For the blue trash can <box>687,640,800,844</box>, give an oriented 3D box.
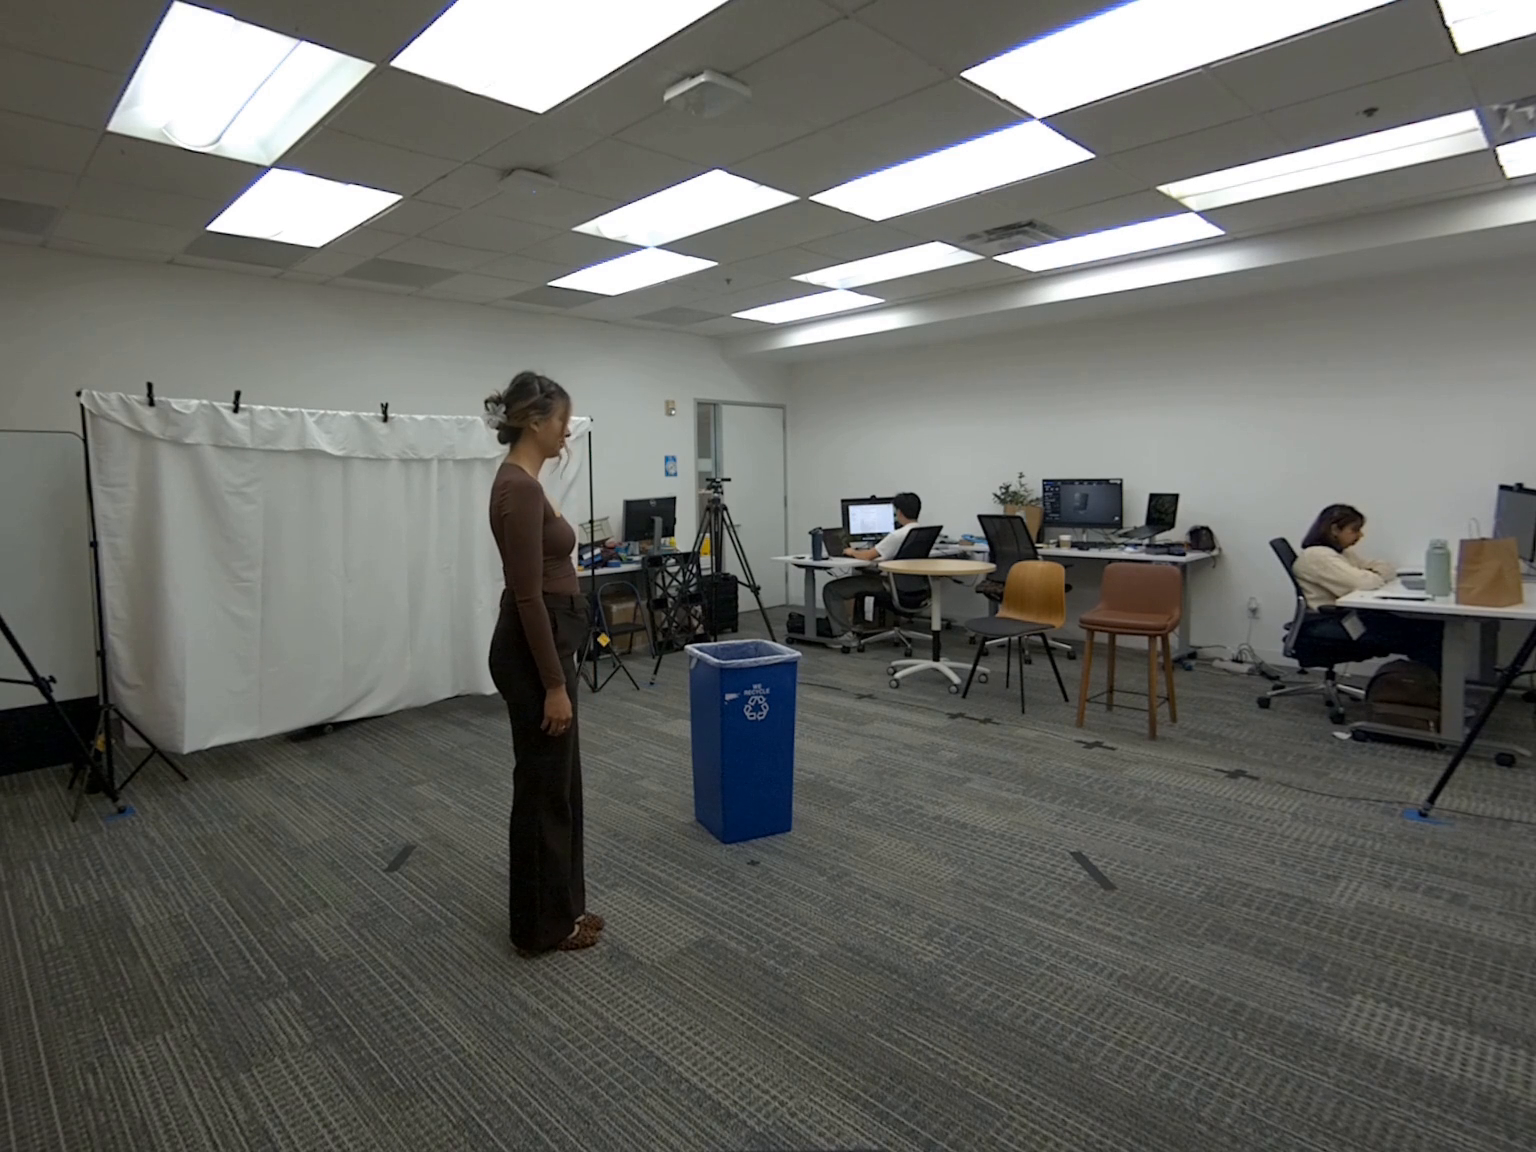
[{"bbox_3d":[-0.099,0.646,3.439,0.366,0.711,0.388,-2,5,-27],"label":"blue trash can"}]
